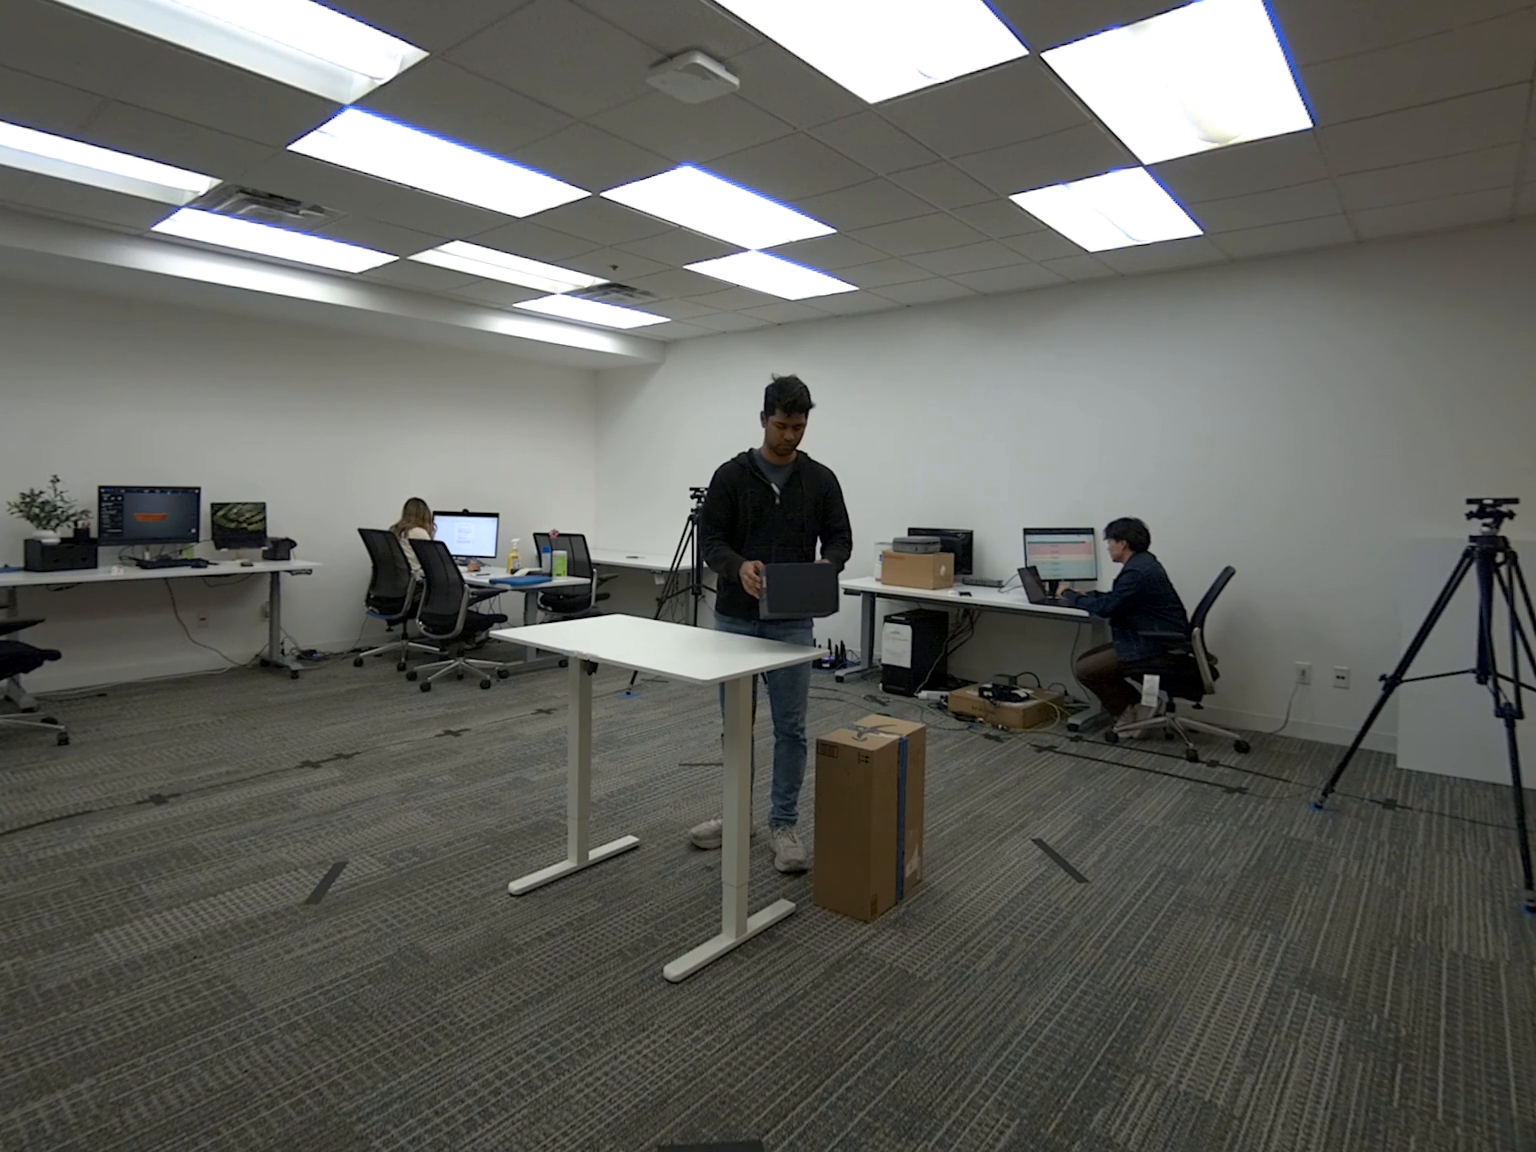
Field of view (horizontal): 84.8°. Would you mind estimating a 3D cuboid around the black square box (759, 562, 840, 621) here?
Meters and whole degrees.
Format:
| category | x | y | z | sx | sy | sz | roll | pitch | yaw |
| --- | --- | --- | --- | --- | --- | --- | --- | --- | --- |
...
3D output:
| category | x | y | z | sx | sy | sz | roll | pitch | yaw |
| --- | --- | --- | --- | --- | --- | --- | --- | --- | --- |
| black square box | 0.088 | 0.048 | 2.764 | 0.227 | 0.157 | 0.217 | -1 | -5 | -6 |
